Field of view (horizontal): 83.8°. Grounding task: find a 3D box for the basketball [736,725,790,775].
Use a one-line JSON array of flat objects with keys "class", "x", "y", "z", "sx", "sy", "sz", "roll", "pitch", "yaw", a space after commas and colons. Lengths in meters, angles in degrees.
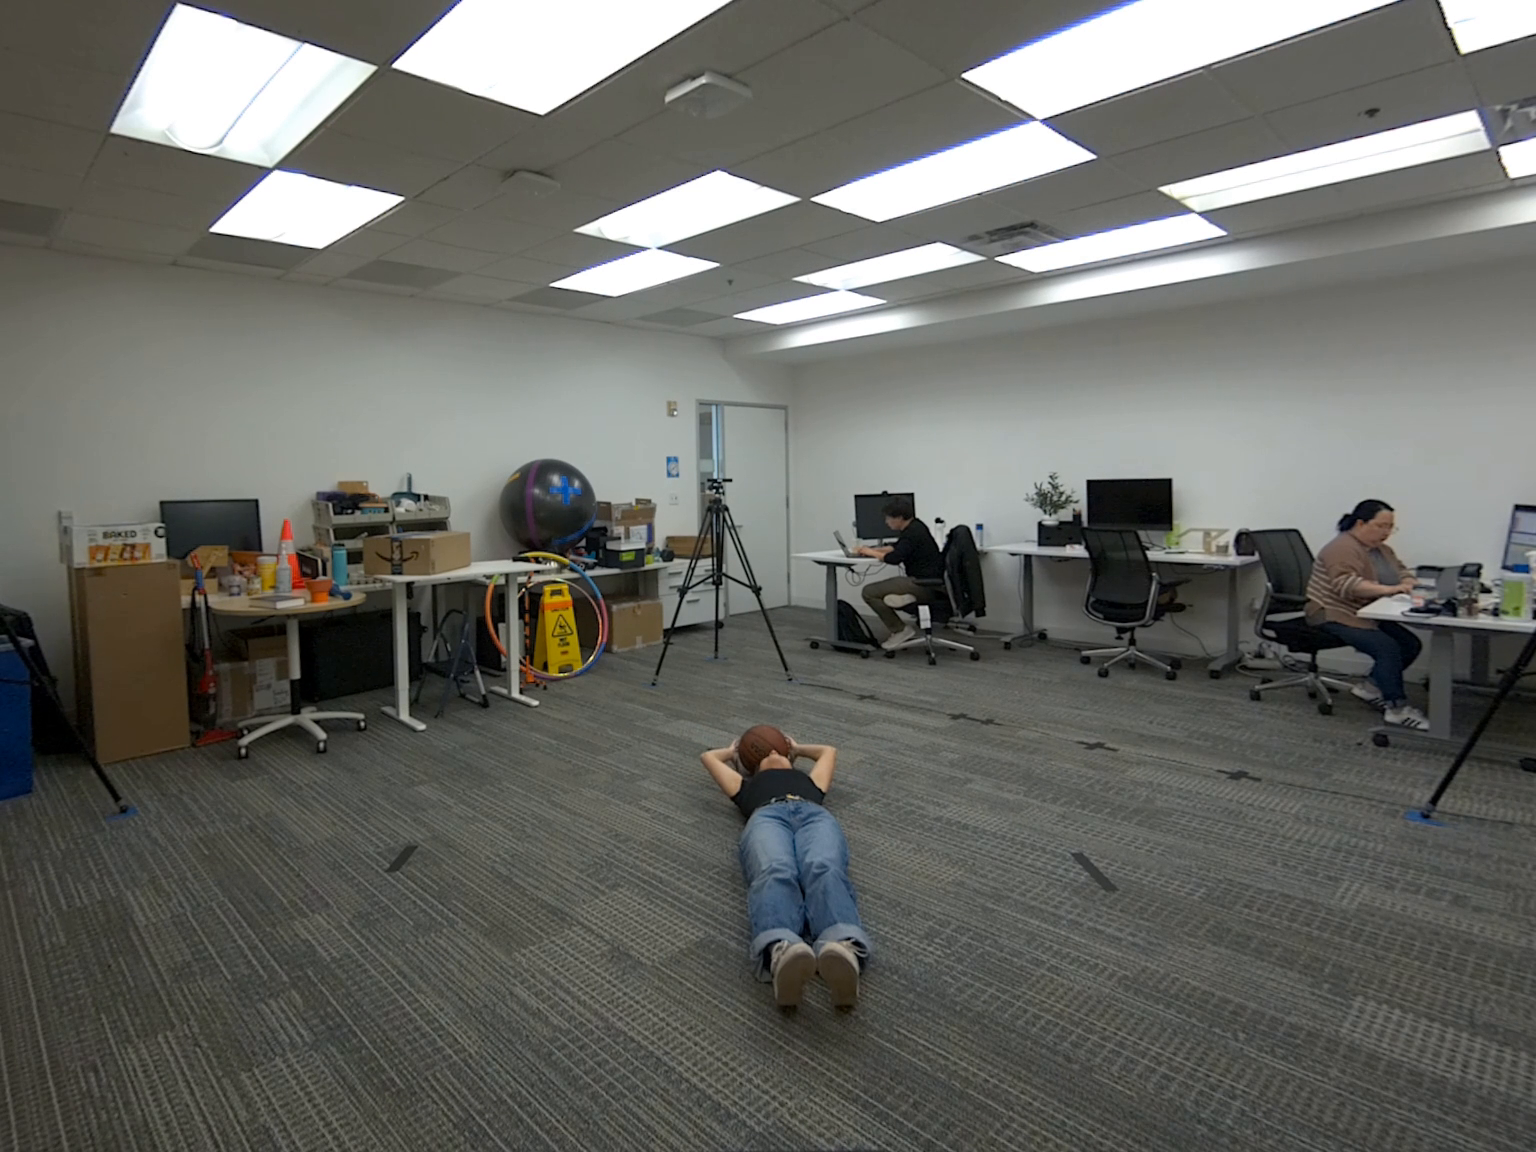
[{"class": "basketball", "x": -0.022, "y": 0.819, "z": 4.035, "sx": 0.236, "sy": 0.235, "sz": 0.237, "roll": -1, "pitch": 5, "yaw": -2}]
